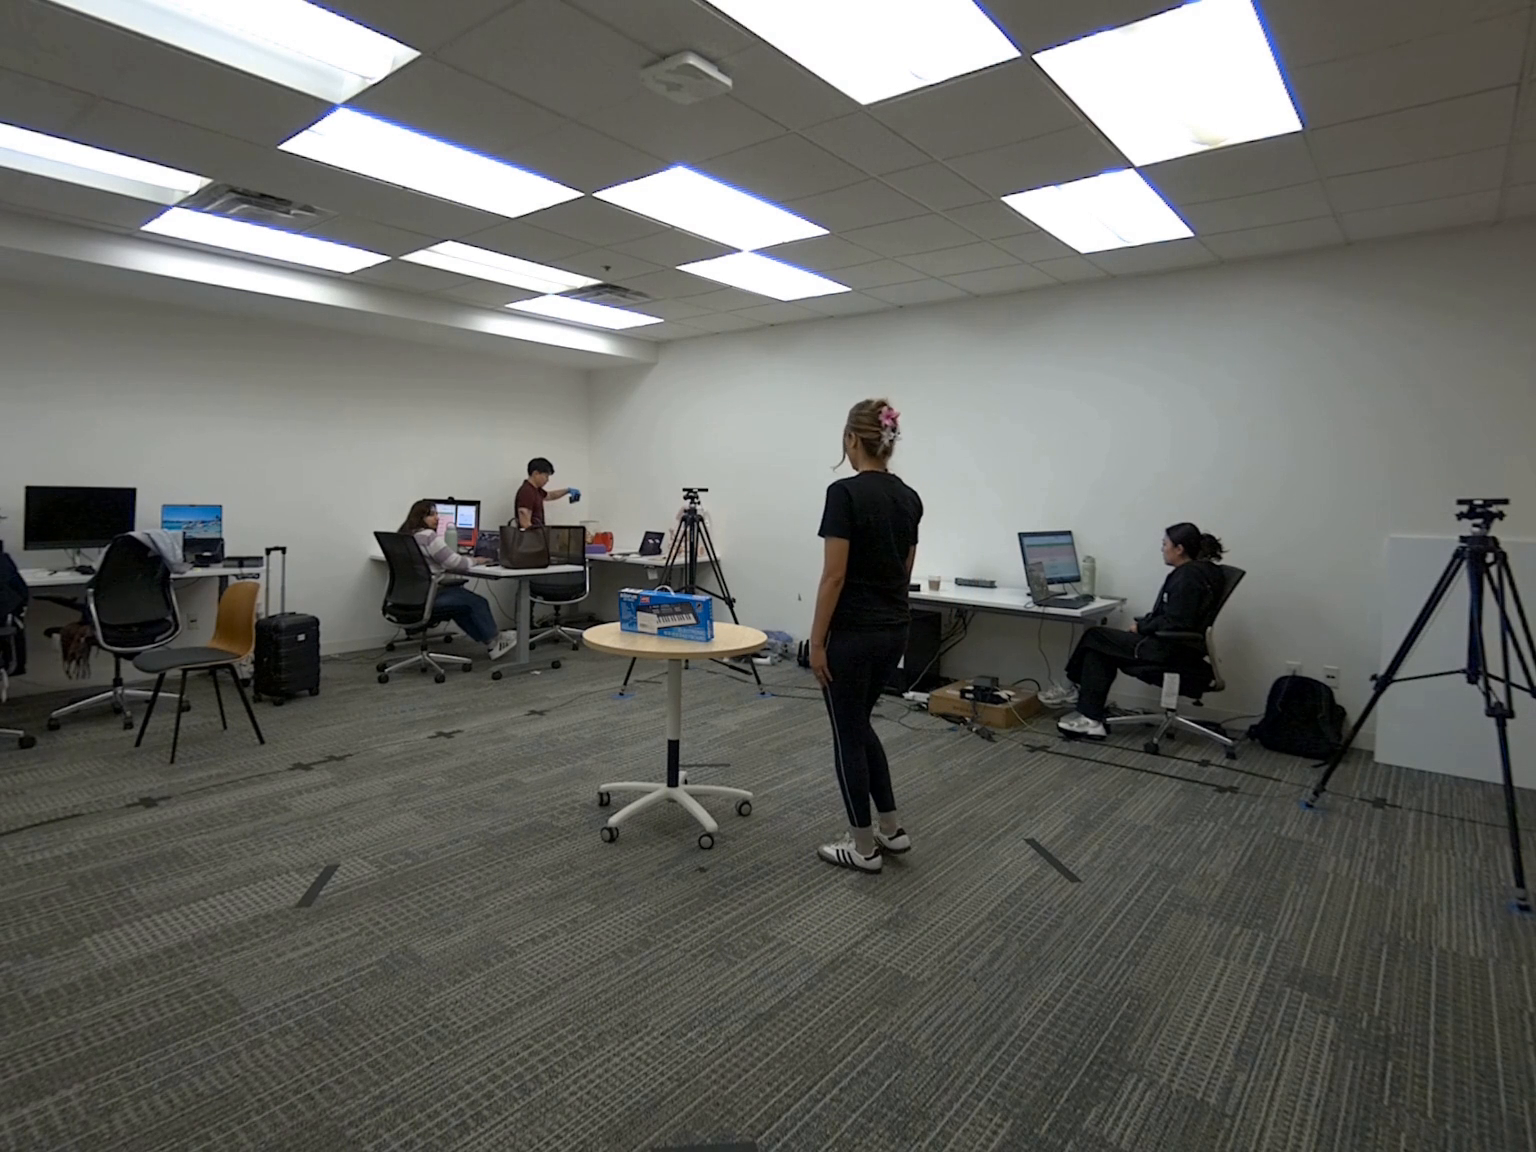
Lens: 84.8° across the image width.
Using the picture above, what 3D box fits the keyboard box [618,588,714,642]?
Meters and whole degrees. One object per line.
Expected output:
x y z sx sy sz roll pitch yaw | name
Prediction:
-0.438 0.157 3.504 0.450 0.174 0.058 5 12 31 | keyboard box
